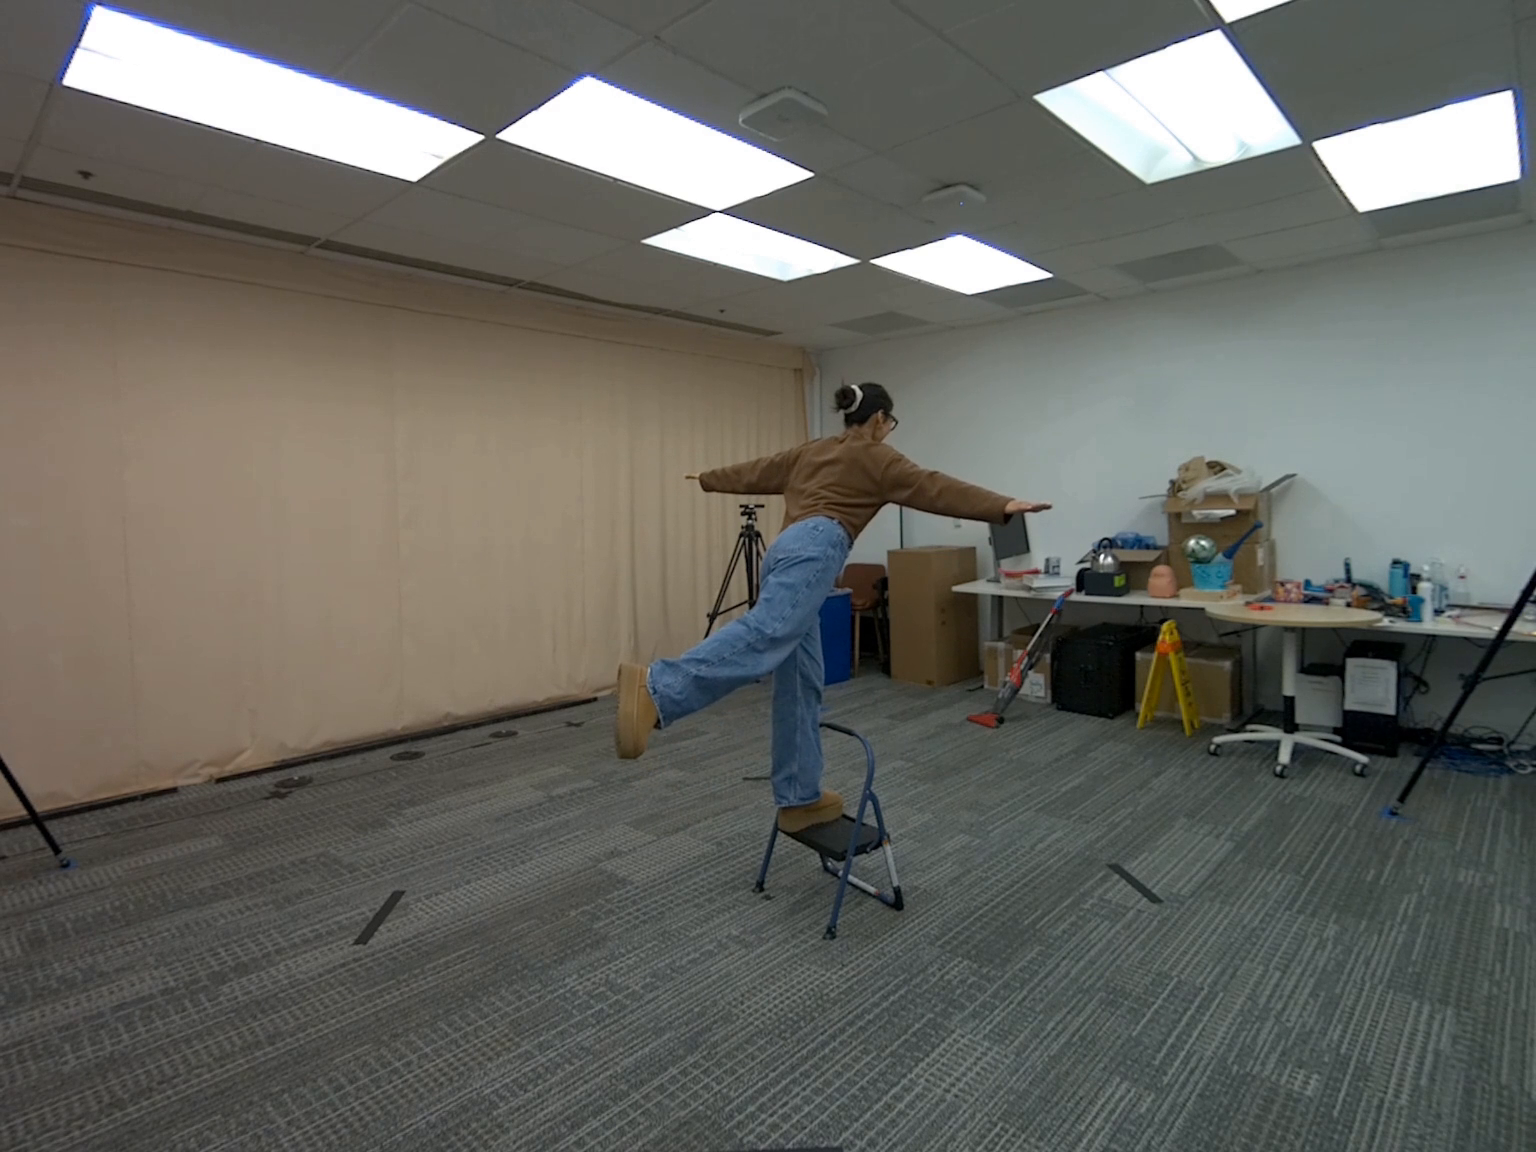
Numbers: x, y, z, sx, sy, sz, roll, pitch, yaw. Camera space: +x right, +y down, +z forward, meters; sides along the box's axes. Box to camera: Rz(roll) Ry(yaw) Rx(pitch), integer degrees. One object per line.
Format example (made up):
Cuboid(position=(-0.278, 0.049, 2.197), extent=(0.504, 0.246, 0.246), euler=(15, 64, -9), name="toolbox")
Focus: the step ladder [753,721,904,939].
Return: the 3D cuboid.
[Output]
Cuboid(position=(0.209, 0.838, 2.938), extent=(0.339, 0.605, 0.444), euler=(-3, 4, -36), name="step ladder")
